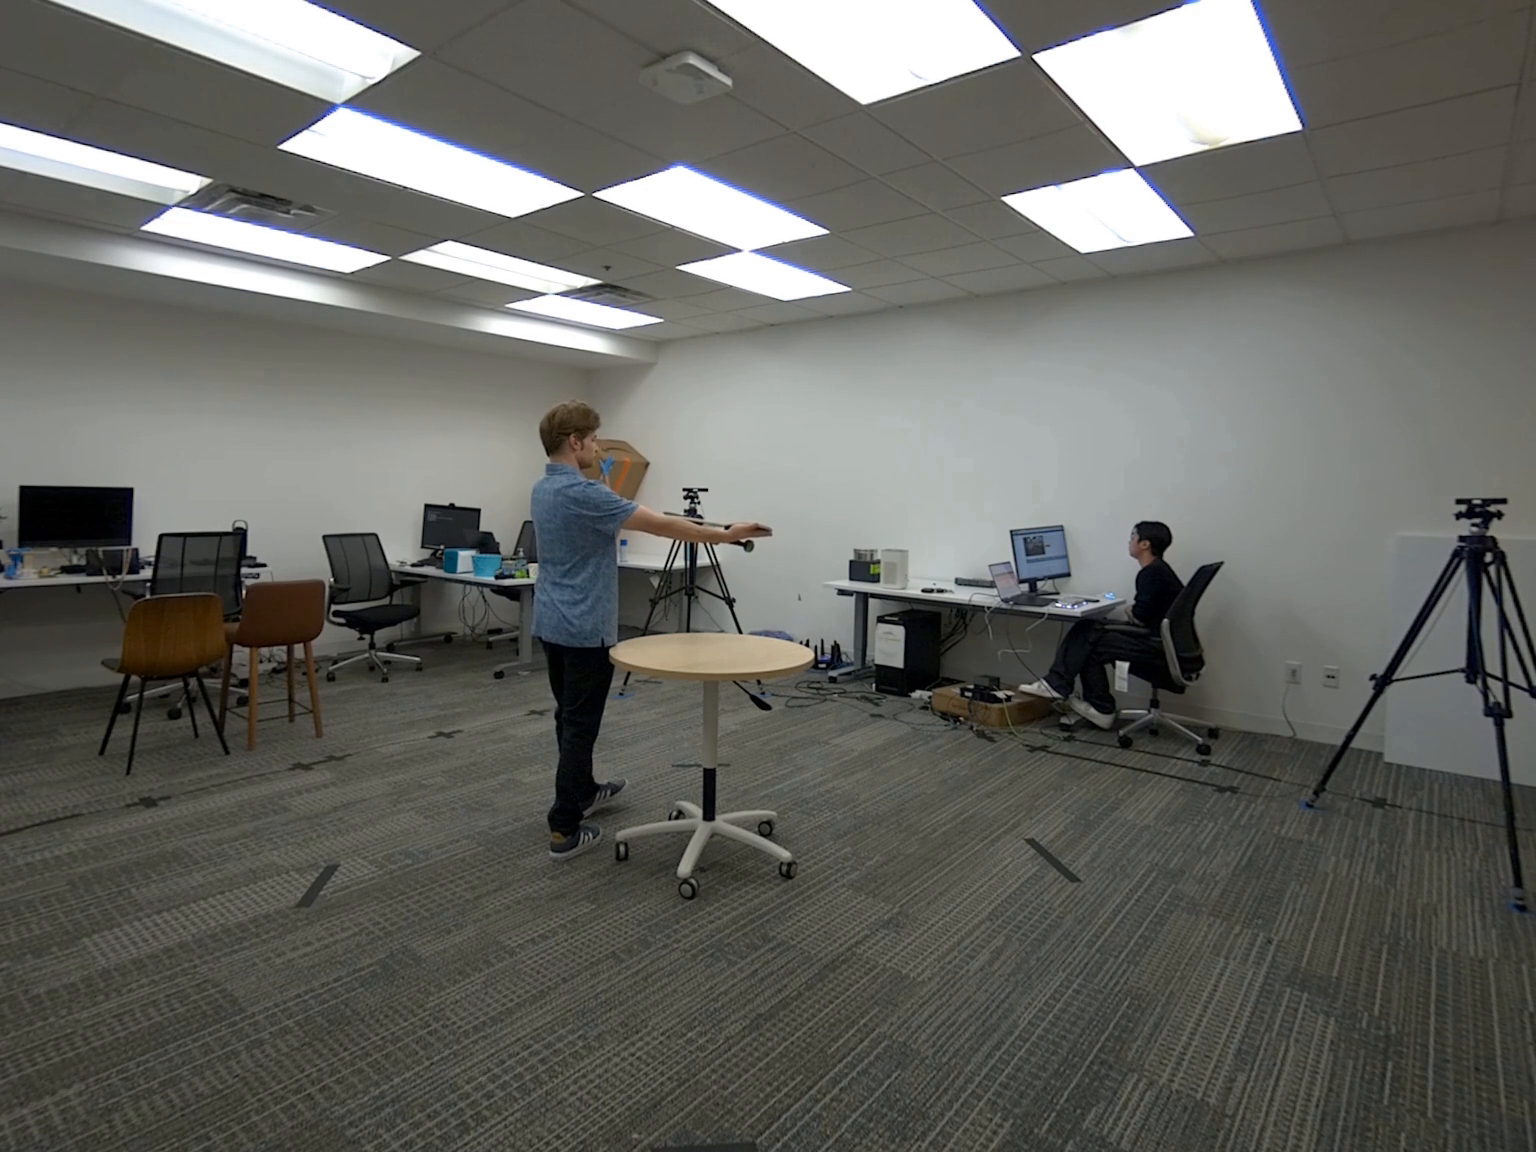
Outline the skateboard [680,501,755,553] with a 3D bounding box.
[{"bbox_3d":[-0.253,-0.187,3.549,0.187,0.110,0.810,12,1,-31],"label":"skateboard"}]
